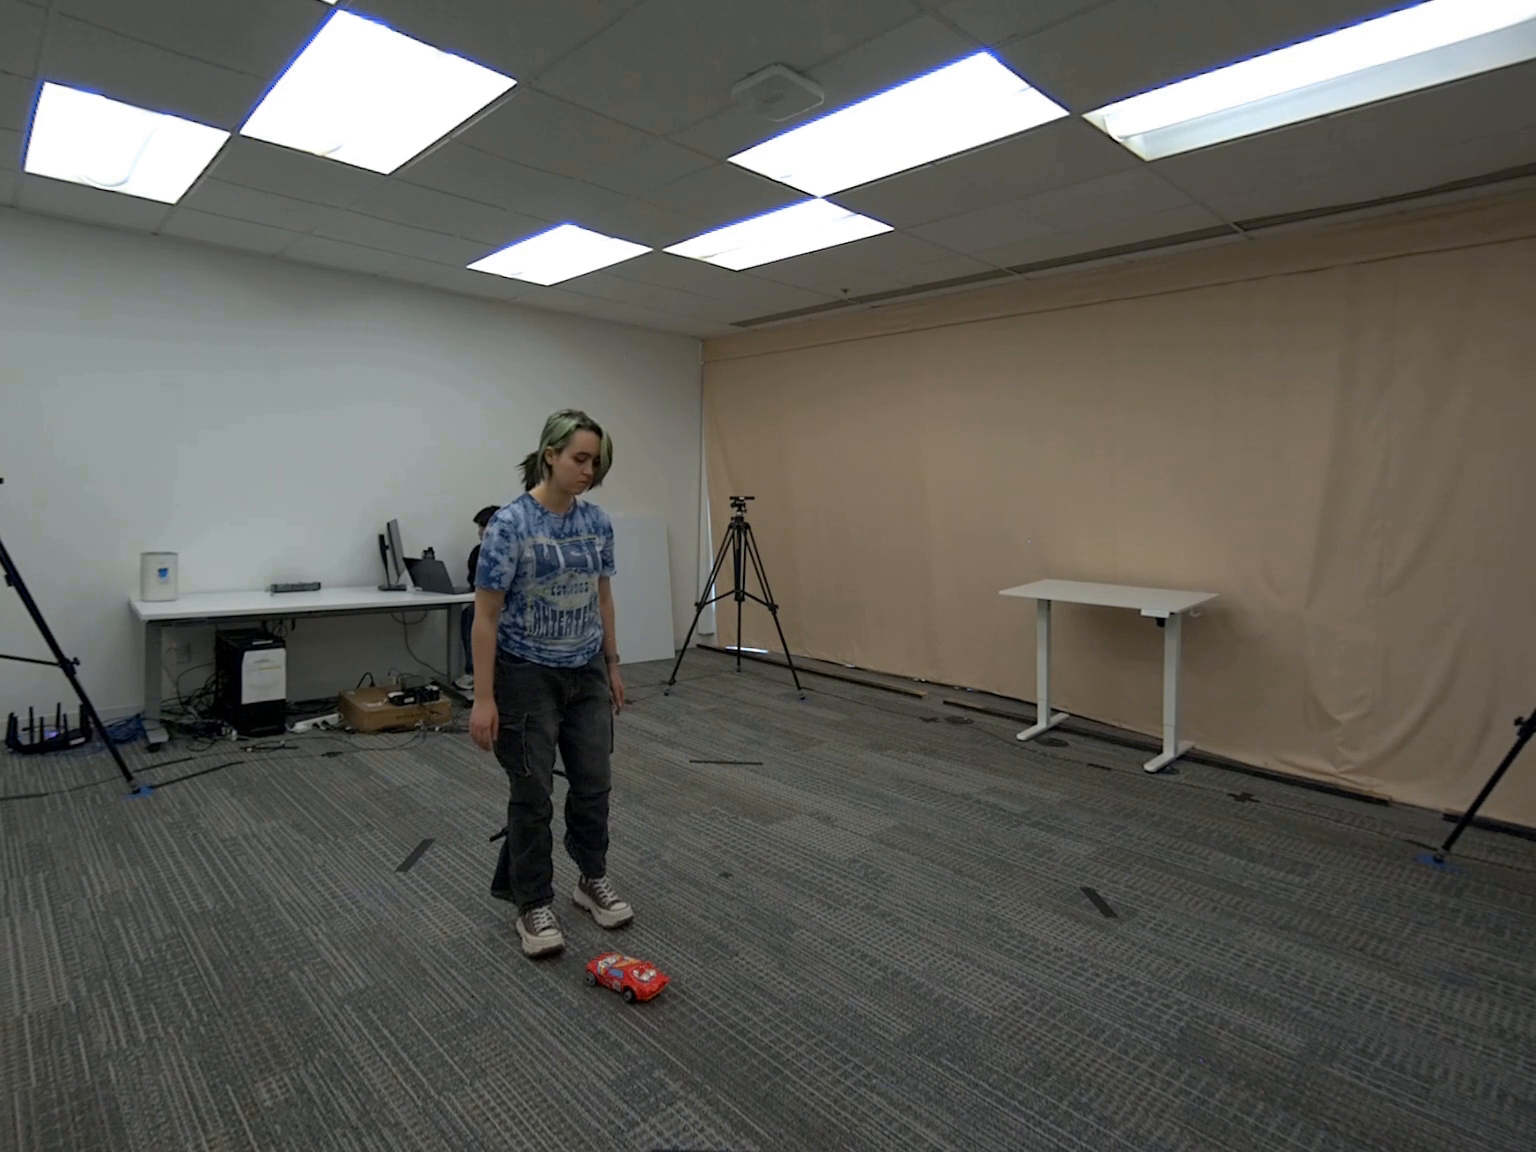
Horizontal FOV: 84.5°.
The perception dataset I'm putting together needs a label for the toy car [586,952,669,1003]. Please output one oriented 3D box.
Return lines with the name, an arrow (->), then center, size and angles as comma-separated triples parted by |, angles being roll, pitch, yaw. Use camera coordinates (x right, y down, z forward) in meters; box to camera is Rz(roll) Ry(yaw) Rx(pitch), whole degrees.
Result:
toy car -> -0.400, 1.135, 2.367 | 0.259, 0.083, 0.127 | -9, -2, 35
